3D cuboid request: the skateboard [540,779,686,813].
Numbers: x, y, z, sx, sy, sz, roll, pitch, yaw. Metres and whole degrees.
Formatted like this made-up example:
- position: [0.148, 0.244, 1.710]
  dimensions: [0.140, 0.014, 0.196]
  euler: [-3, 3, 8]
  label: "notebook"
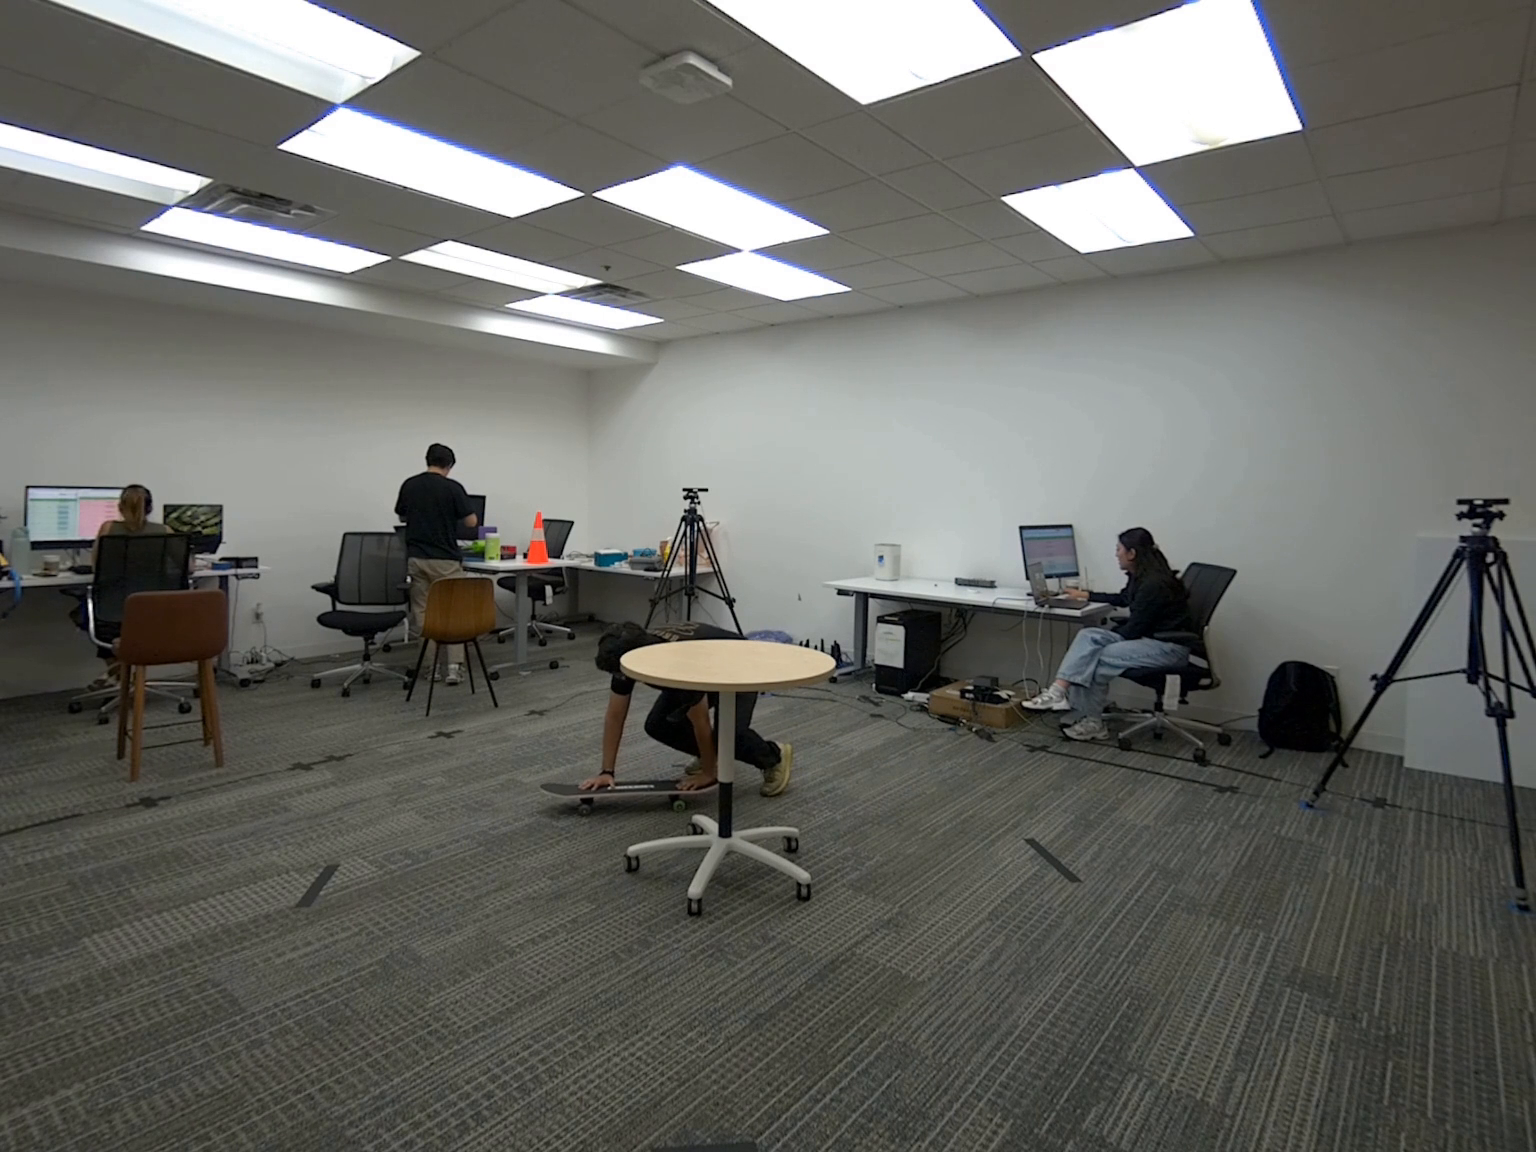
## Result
- position: [-0.612, 0.949, 3.700]
  dimensions: [0.776, 0.110, 0.196]
  euler: [0, 1, -11]
  label: "skateboard"
